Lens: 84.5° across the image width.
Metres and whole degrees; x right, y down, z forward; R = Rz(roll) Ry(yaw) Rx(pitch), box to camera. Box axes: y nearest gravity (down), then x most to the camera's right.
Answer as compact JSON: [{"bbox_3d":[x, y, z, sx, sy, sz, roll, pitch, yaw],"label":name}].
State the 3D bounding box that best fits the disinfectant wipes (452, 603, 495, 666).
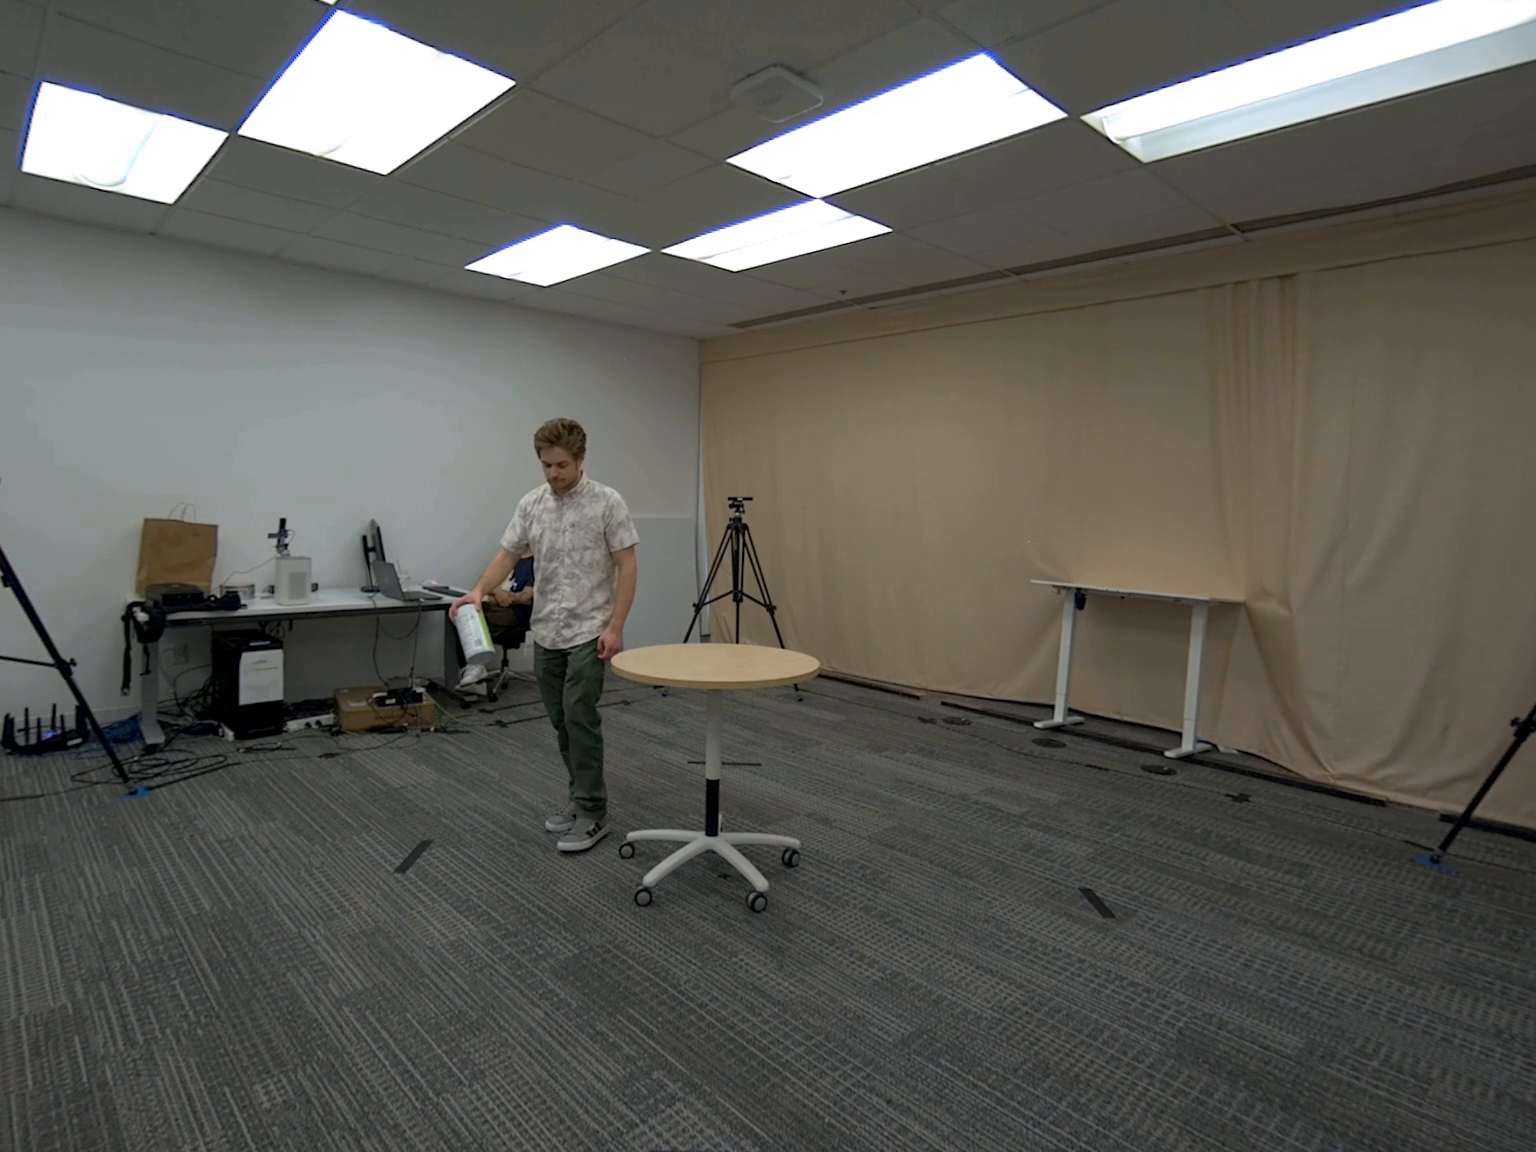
[{"bbox_3d":[-1.135,0.218,3.196,0.117,0.222,0.115,-15,-27,-9],"label":"disinfectant wipes"}]
